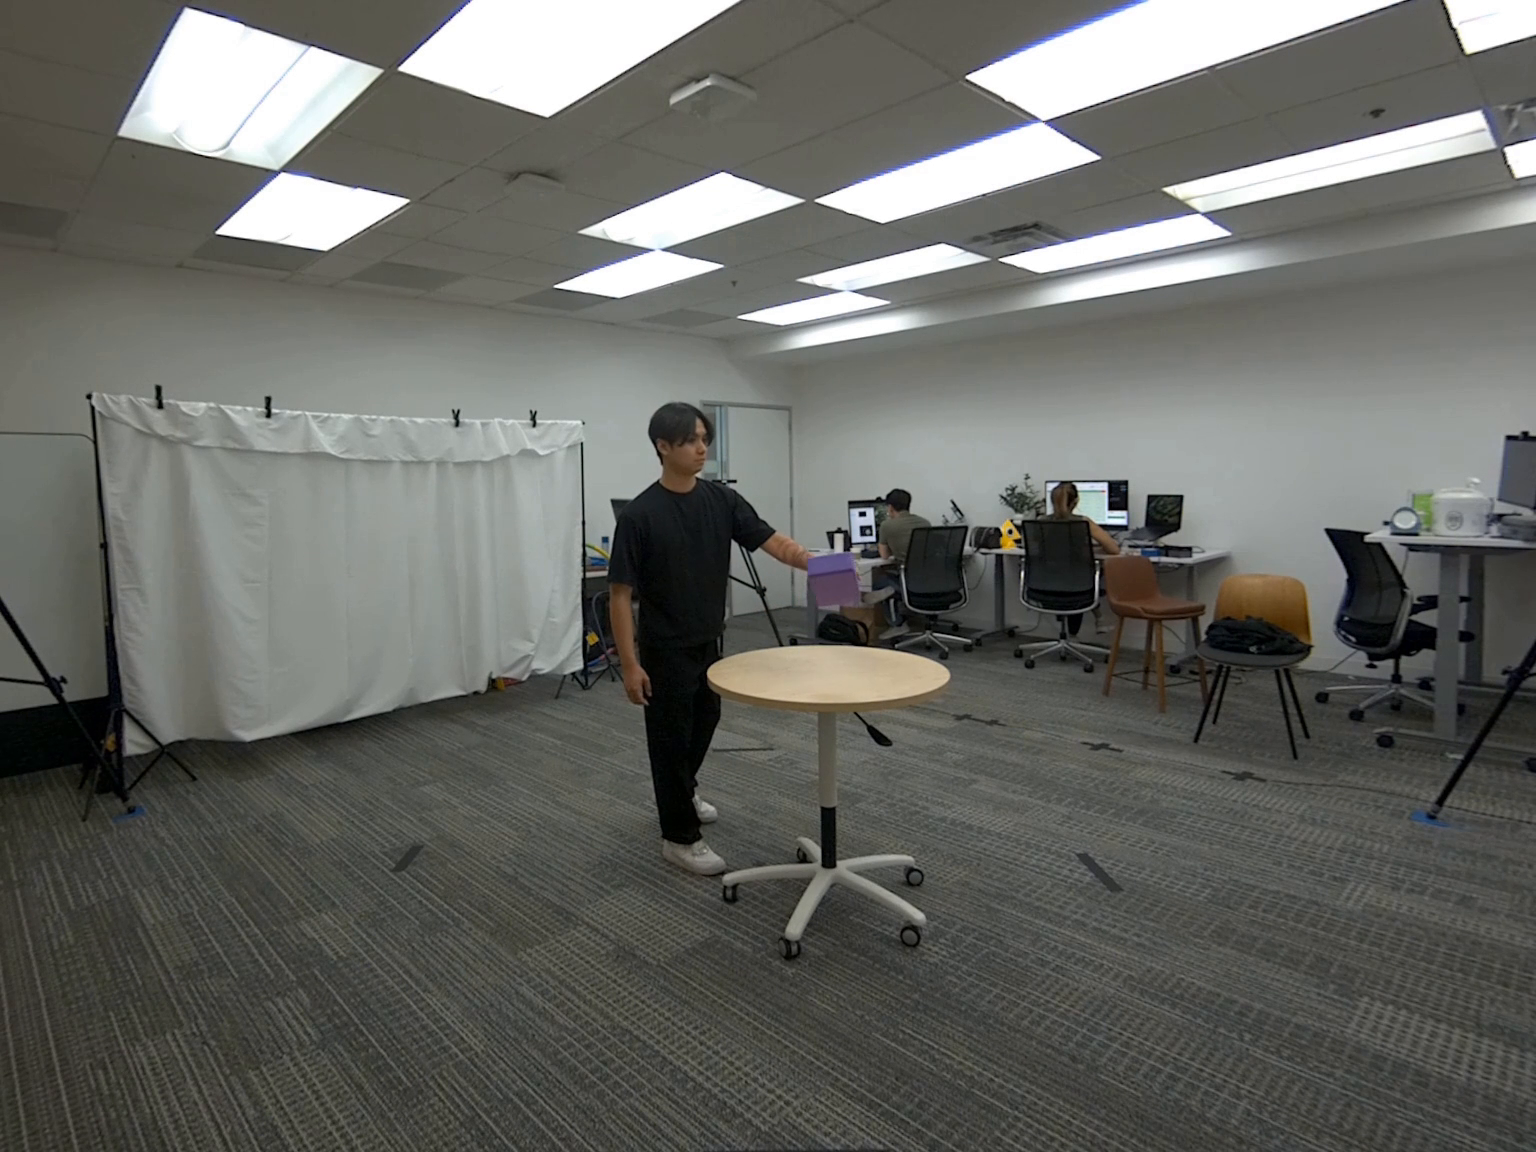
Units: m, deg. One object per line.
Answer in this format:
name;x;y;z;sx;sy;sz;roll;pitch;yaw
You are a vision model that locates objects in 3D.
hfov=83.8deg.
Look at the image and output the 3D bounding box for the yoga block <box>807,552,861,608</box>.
yoga block;0.215;0.013;2.778;0.150;0.078;0.222;-6;-33;7
